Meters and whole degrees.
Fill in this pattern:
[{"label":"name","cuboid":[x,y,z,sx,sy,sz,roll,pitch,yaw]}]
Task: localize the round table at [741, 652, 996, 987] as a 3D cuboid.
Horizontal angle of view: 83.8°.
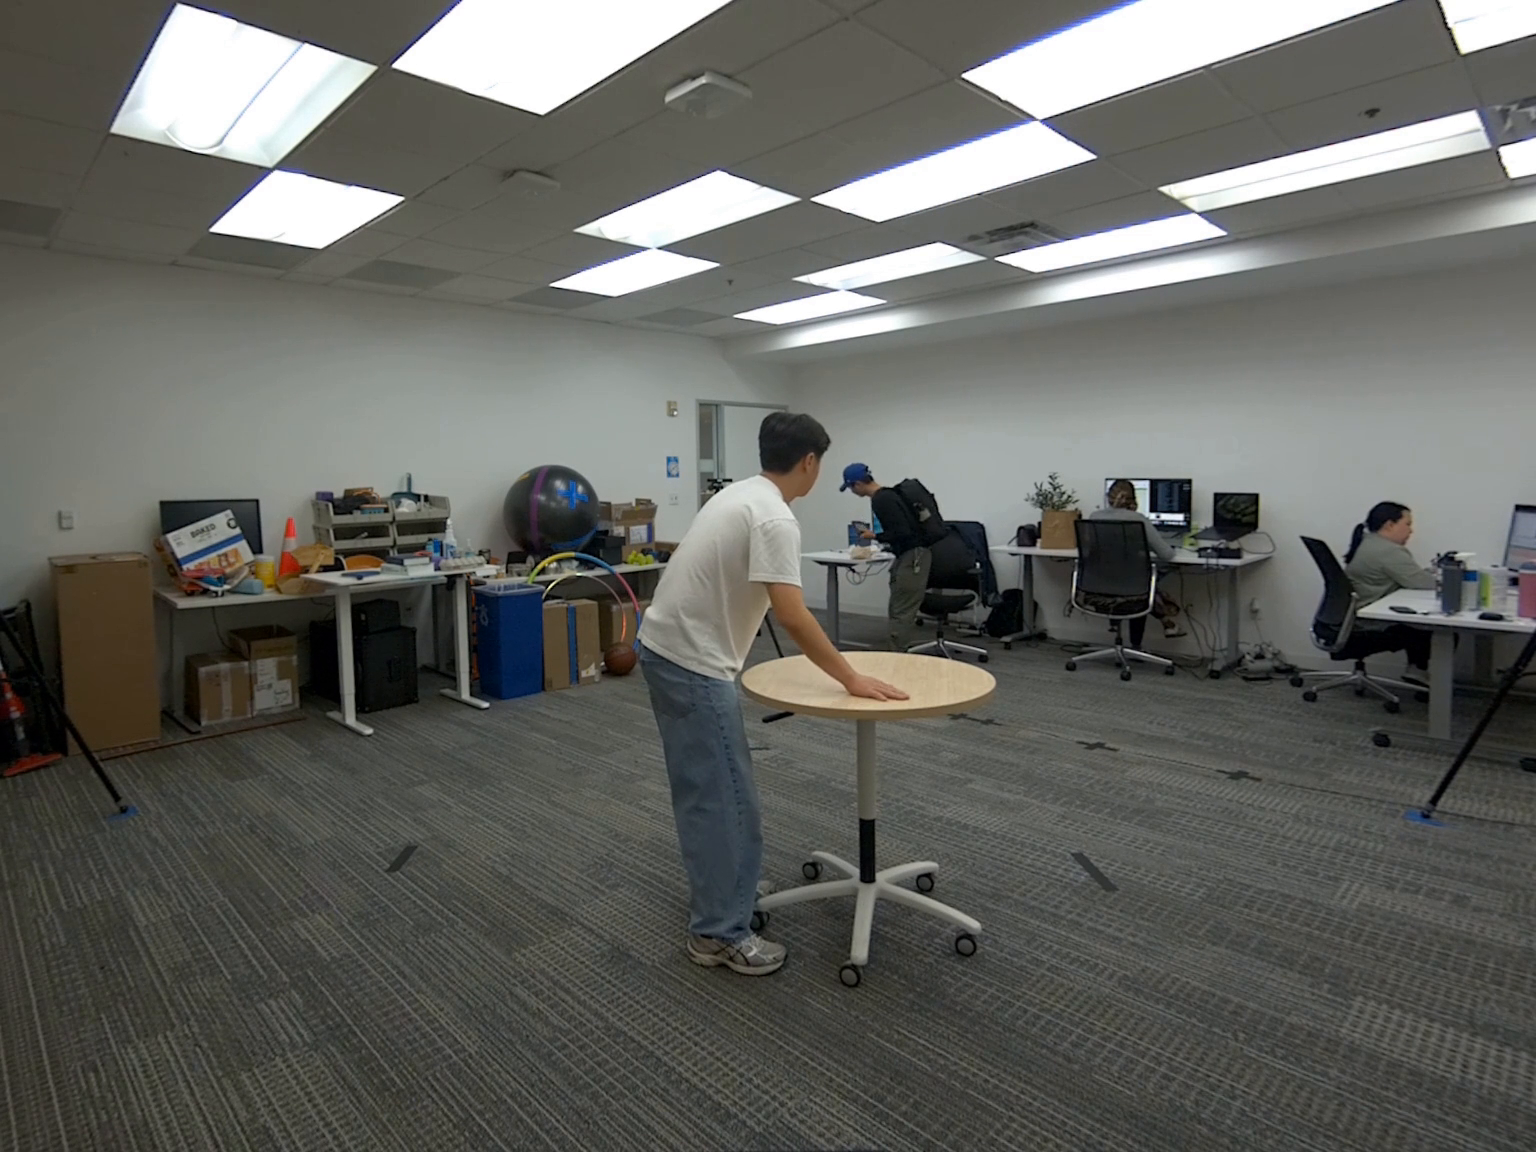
[{"label":"round table","cuboid":[0.309,0.698,2.659,0.763,0.791,0.768,-1,5,-2]}]
